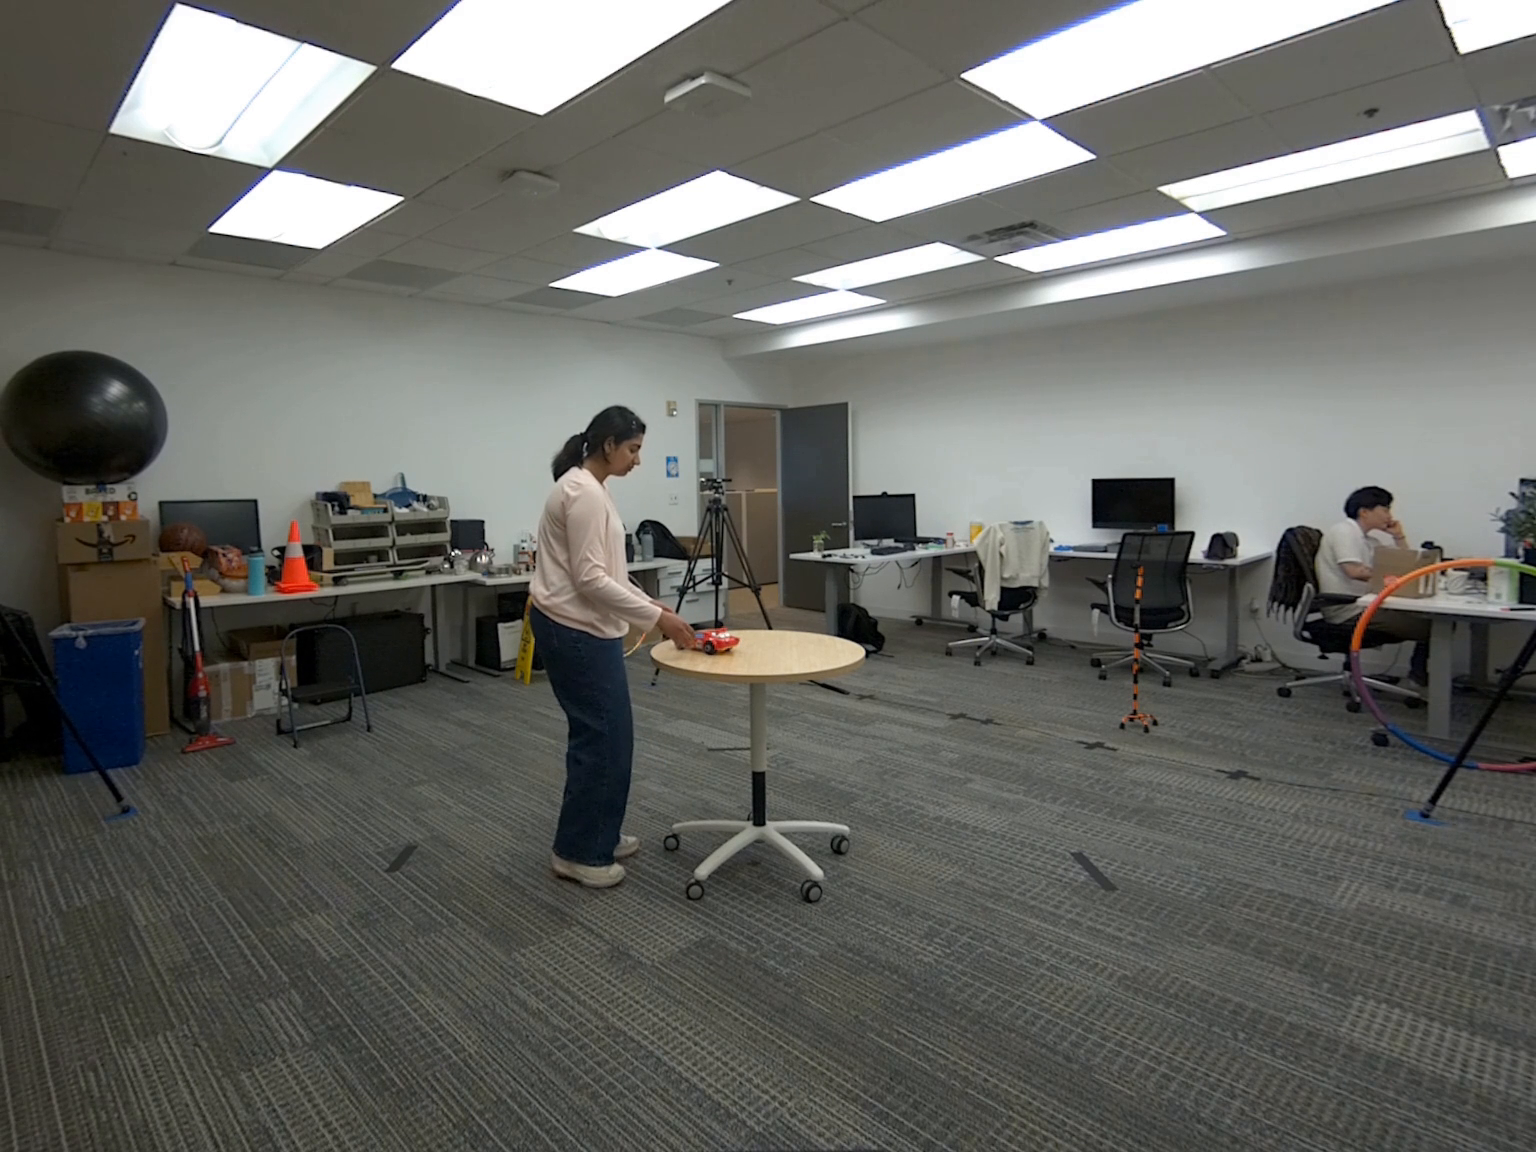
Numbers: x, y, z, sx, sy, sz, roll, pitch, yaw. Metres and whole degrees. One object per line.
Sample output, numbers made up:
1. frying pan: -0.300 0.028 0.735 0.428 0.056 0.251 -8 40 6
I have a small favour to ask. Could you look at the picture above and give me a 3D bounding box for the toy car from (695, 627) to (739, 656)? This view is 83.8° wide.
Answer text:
1. toy car: -0.213 0.233 3.056 0.260 0.083 0.127 -9 0 39
